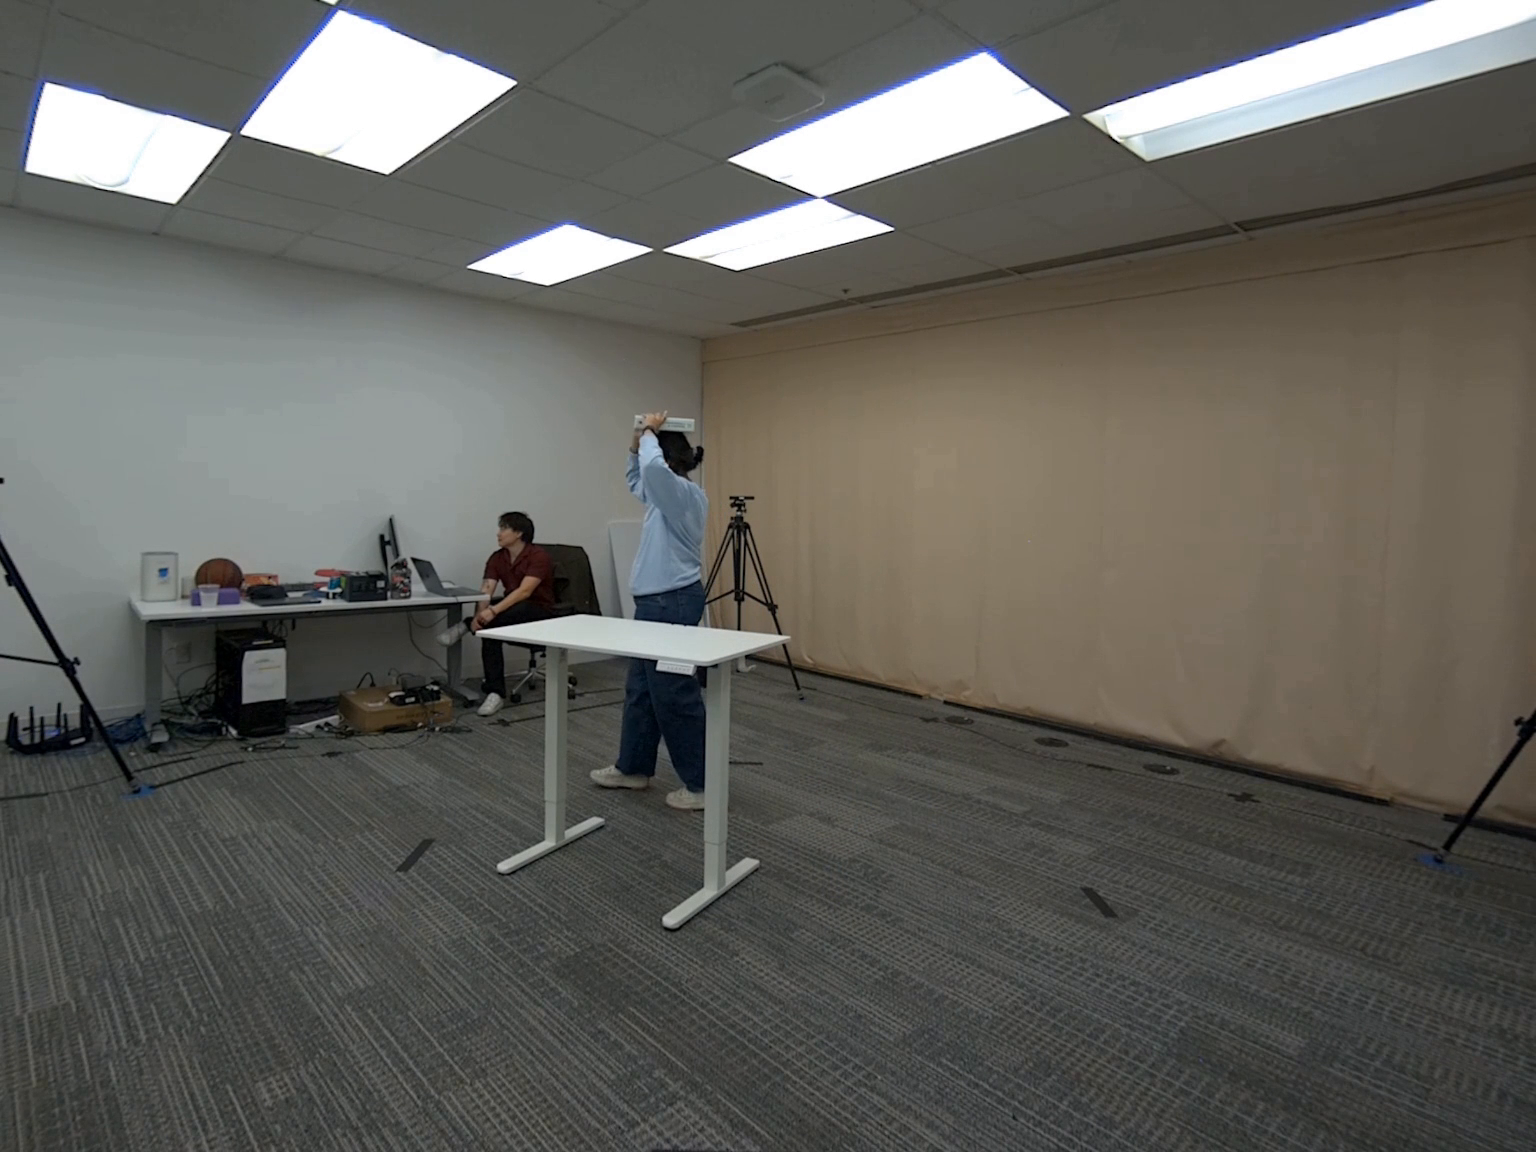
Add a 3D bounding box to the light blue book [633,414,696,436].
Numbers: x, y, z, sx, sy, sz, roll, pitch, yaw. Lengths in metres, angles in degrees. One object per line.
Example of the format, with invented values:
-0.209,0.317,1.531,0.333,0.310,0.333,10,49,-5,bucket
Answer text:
-0.487,-0.685,3.810,0.259,0.059,0.193,1,5,-9,light blue book
